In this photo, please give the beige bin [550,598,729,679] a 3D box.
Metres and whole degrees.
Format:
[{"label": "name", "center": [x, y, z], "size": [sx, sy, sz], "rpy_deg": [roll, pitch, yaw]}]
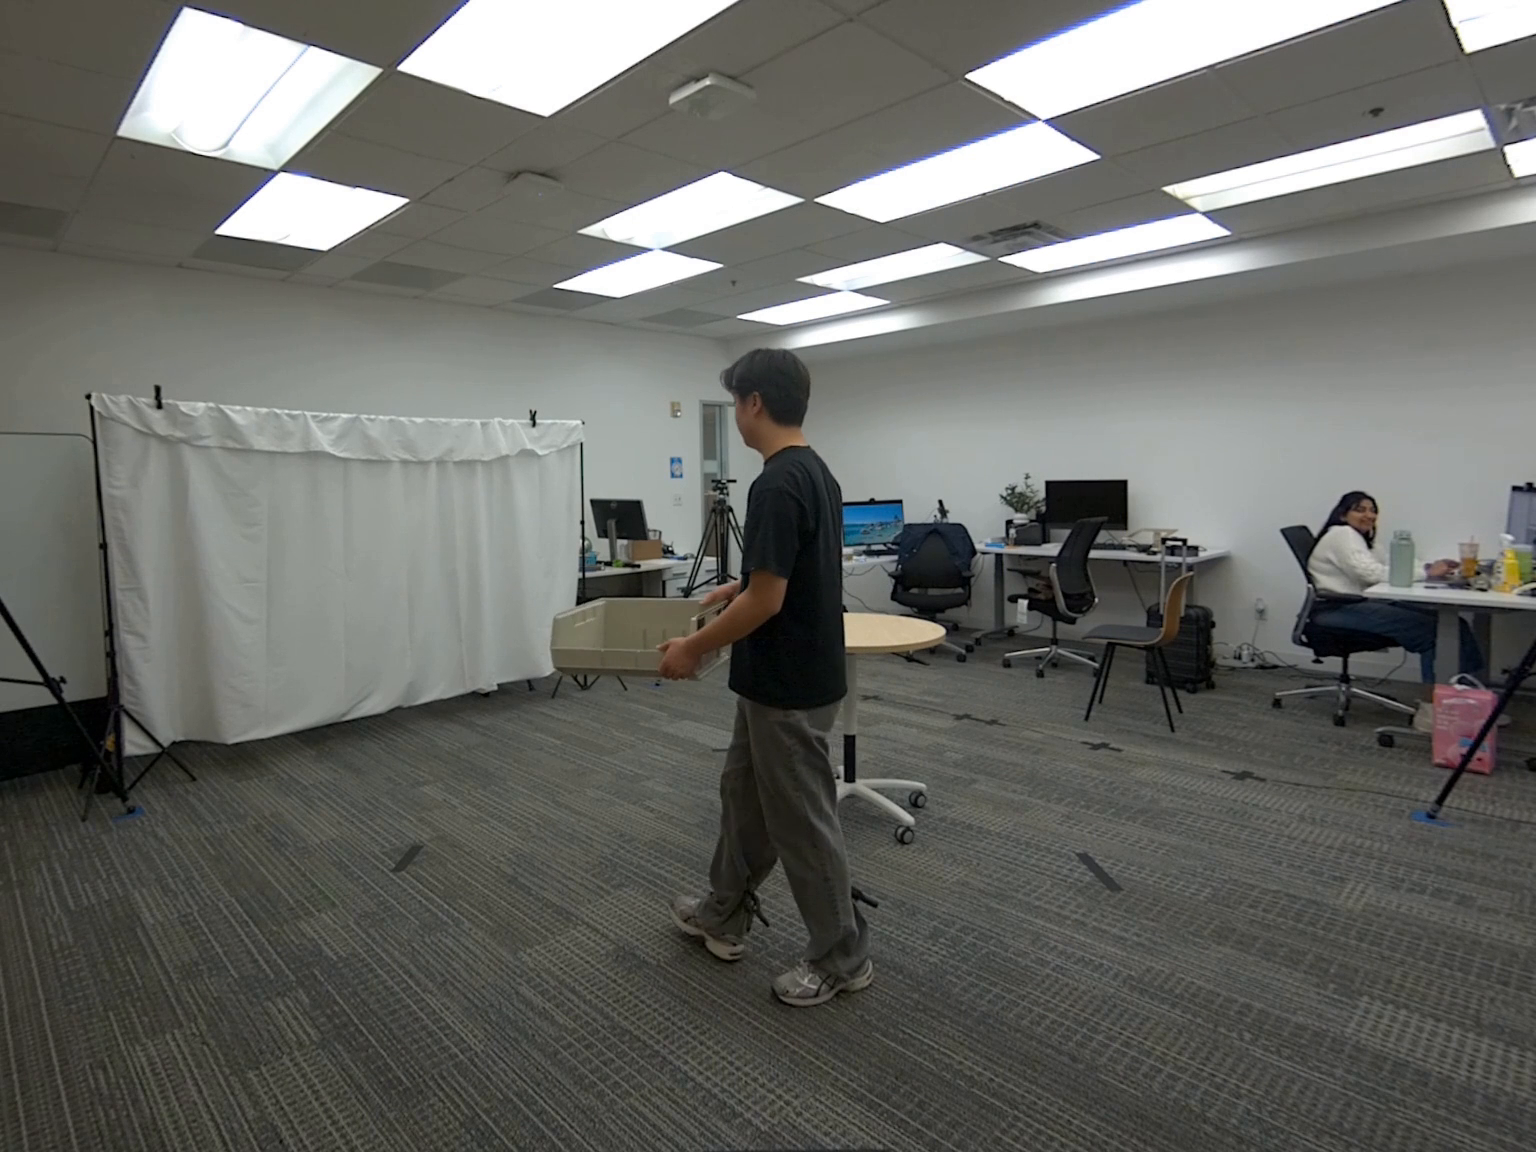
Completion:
[{"label": "beige bin", "center": [-0.380, 0.181, 2.466], "size": [0.430, 0.188, 0.371], "rpy_deg": [1, 4, 19]}]
